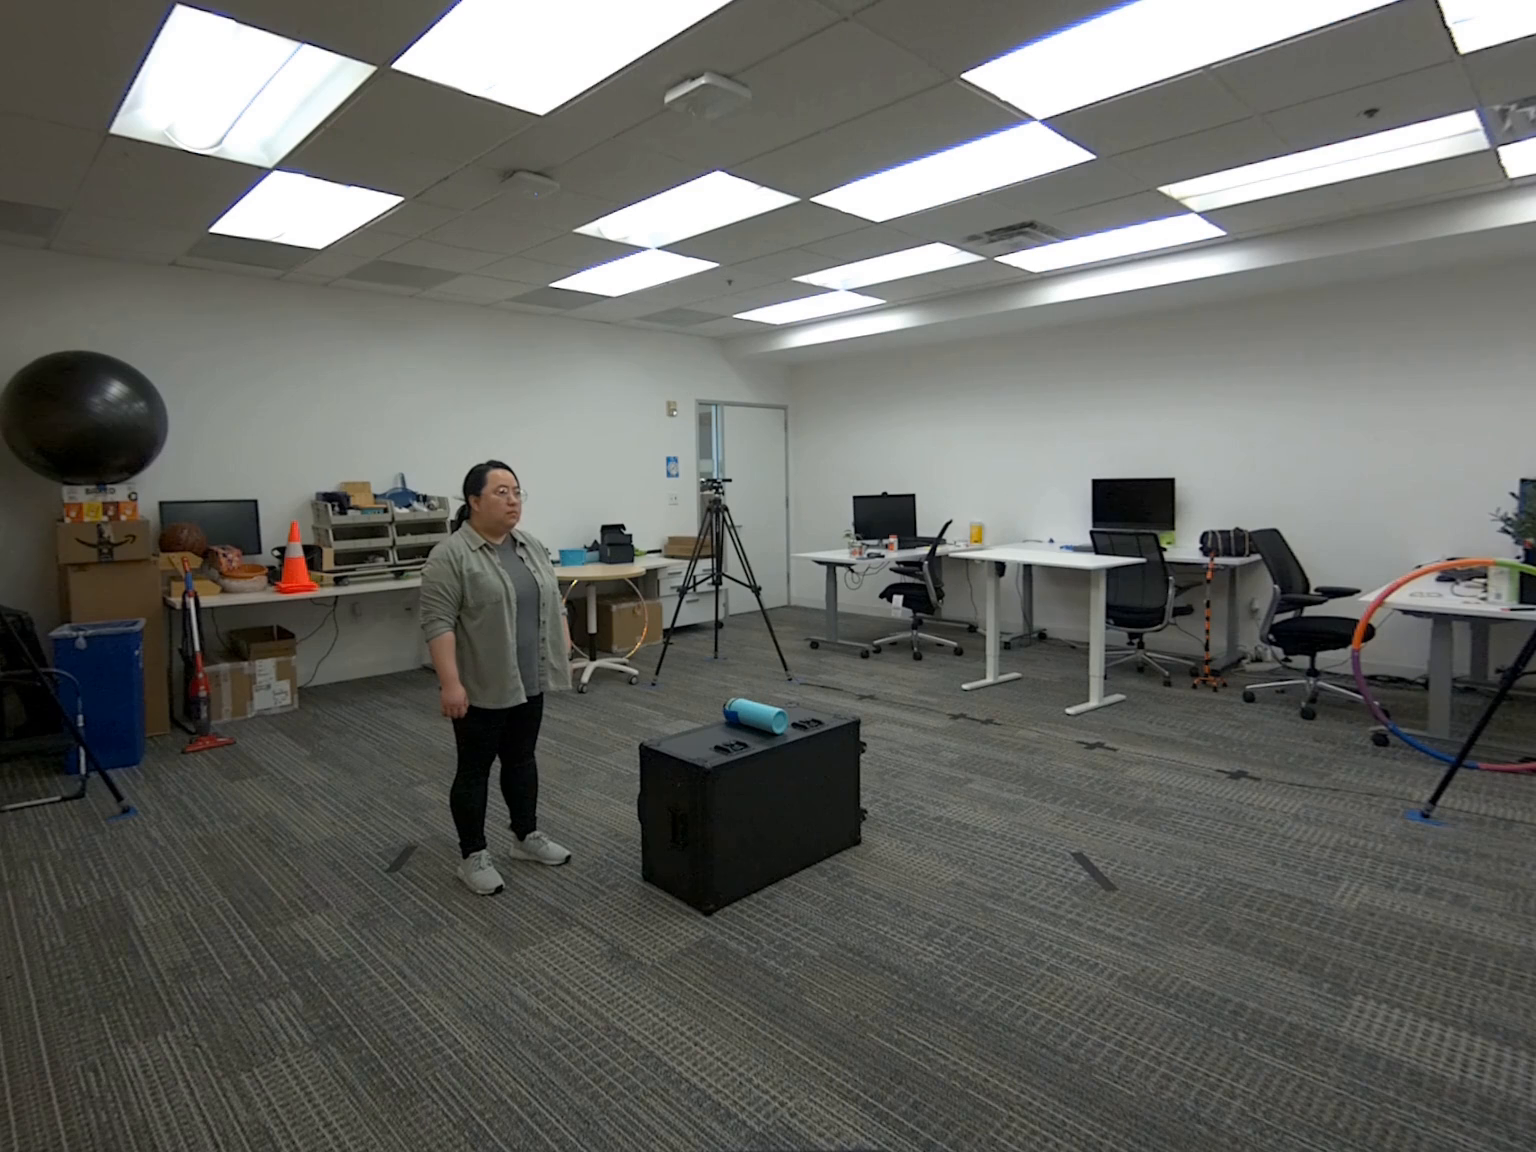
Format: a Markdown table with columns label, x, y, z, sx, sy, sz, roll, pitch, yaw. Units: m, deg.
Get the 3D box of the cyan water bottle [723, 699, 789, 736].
| label | x | y | z | sx | sy | sz | roll | pitch | yaw |
| --- | --- | --- | --- | --- | --- | --- | --- | --- | --- |
| cyan water bottle | -0.053 | 0.505 | 3.152 | 0.090 | 0.092 | 0.292 | -6 | 8 | -44 |
